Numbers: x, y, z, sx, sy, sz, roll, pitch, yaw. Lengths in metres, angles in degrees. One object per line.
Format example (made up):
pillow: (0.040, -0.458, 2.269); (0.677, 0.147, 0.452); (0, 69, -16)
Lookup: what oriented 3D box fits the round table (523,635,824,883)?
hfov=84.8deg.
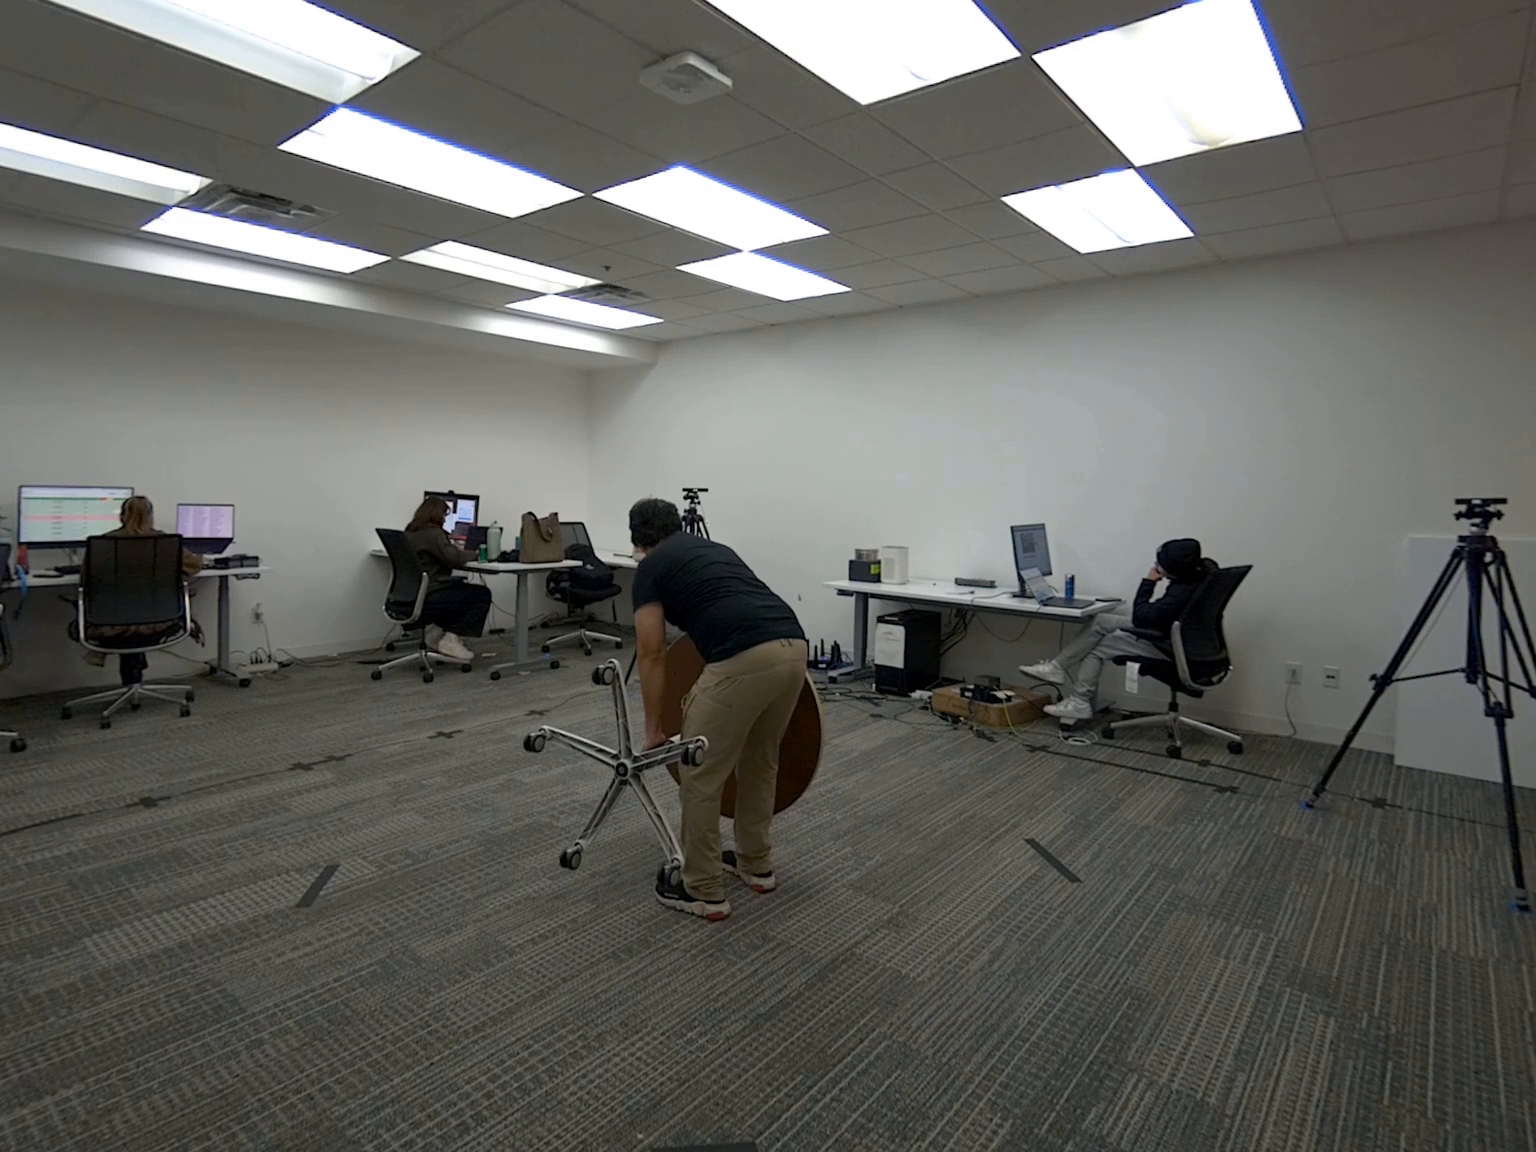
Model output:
round table: (-0.331, 0.584, 2.959); (0.808, 0.783, 0.766); (3, 4, 29)
